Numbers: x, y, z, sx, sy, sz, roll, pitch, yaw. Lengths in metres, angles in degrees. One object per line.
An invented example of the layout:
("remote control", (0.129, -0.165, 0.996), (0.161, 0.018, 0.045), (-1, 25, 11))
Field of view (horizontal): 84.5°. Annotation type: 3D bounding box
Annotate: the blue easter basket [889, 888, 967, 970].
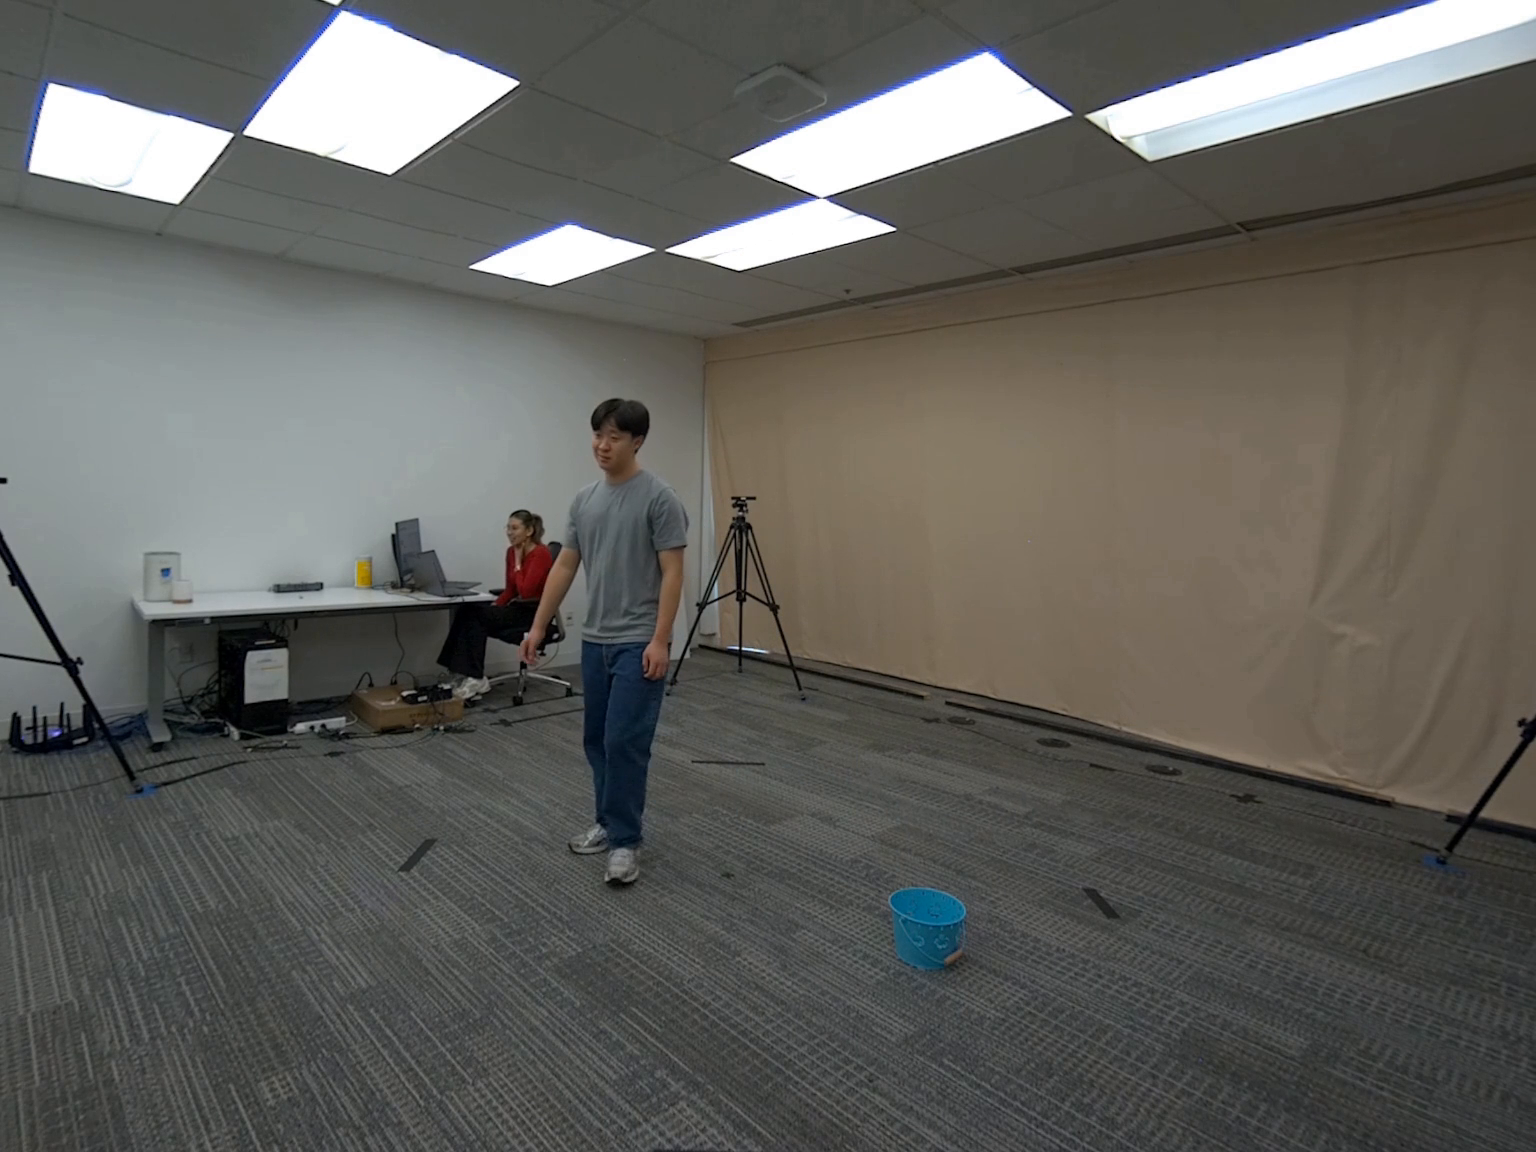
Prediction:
("blue easter basket", (0.481, 1.087, 2.595), (0.243, 0.155, 0.244), (1, 4, -1))
